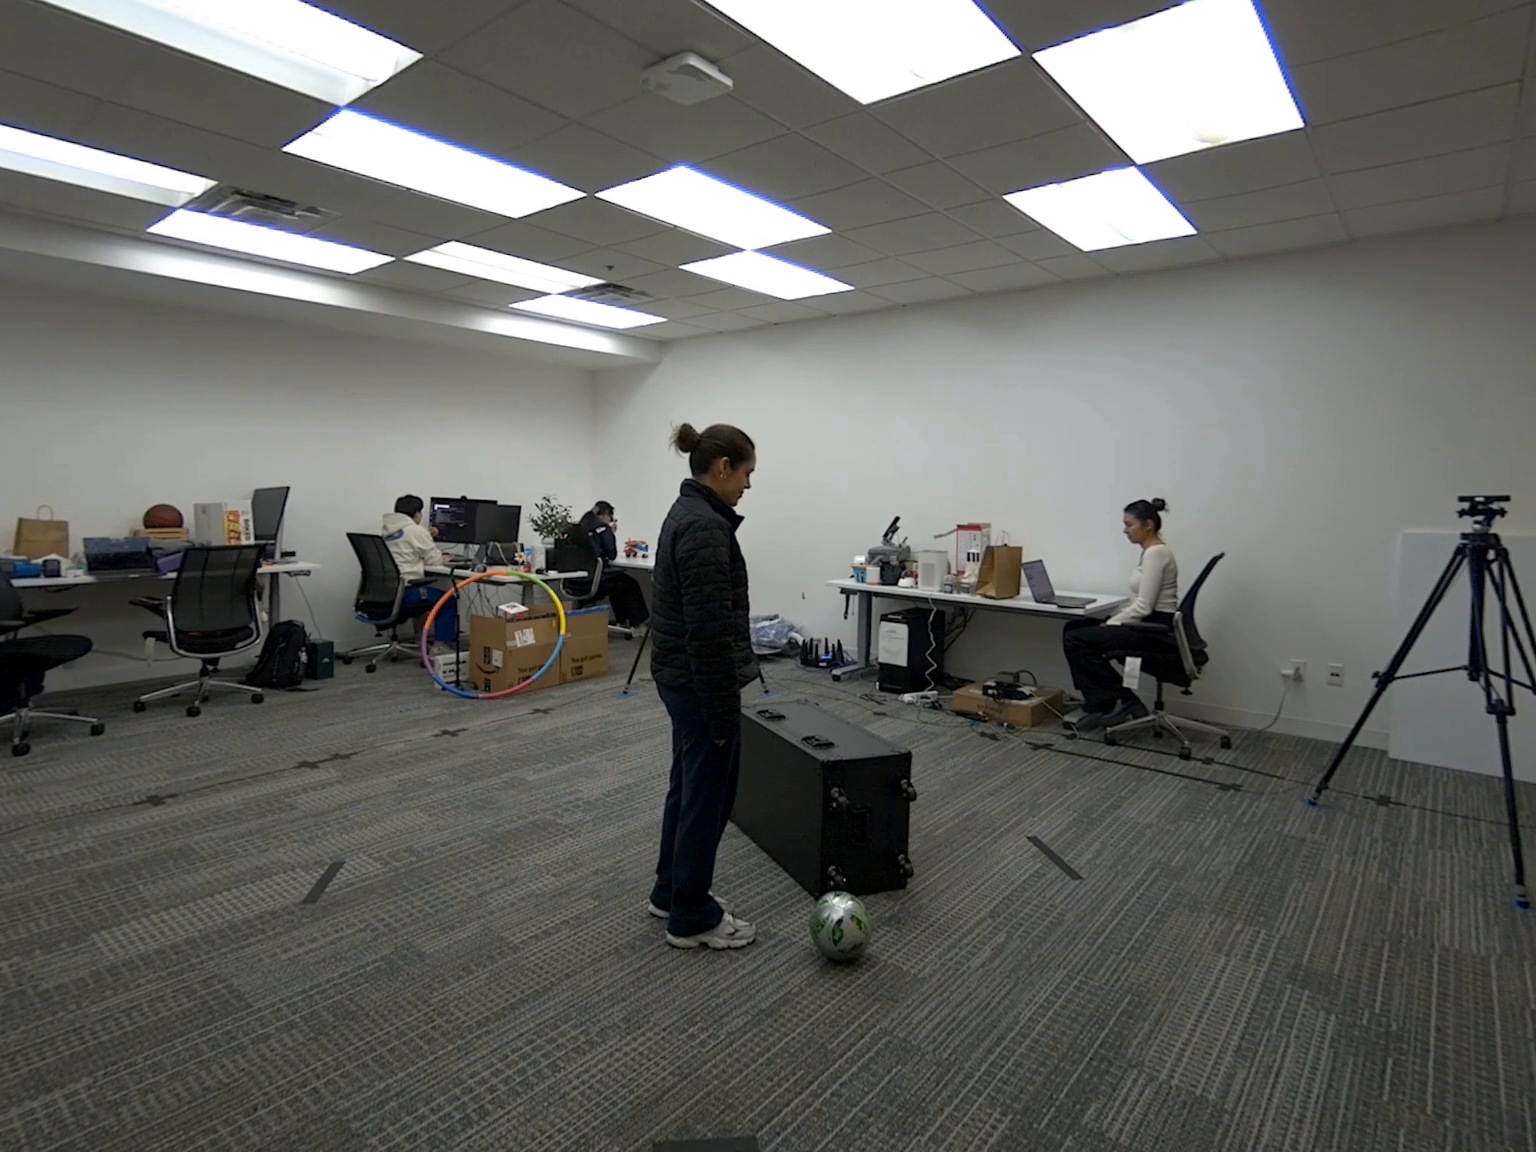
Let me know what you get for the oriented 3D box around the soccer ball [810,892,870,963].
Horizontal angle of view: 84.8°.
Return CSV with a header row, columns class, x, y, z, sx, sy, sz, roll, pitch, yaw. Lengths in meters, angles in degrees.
class,x,y,z,sx,sy,sz,roll,pitch,yaw
soccer ball,0.212,1.047,2.531,0.187,0.187,0.188,1,4,-2
